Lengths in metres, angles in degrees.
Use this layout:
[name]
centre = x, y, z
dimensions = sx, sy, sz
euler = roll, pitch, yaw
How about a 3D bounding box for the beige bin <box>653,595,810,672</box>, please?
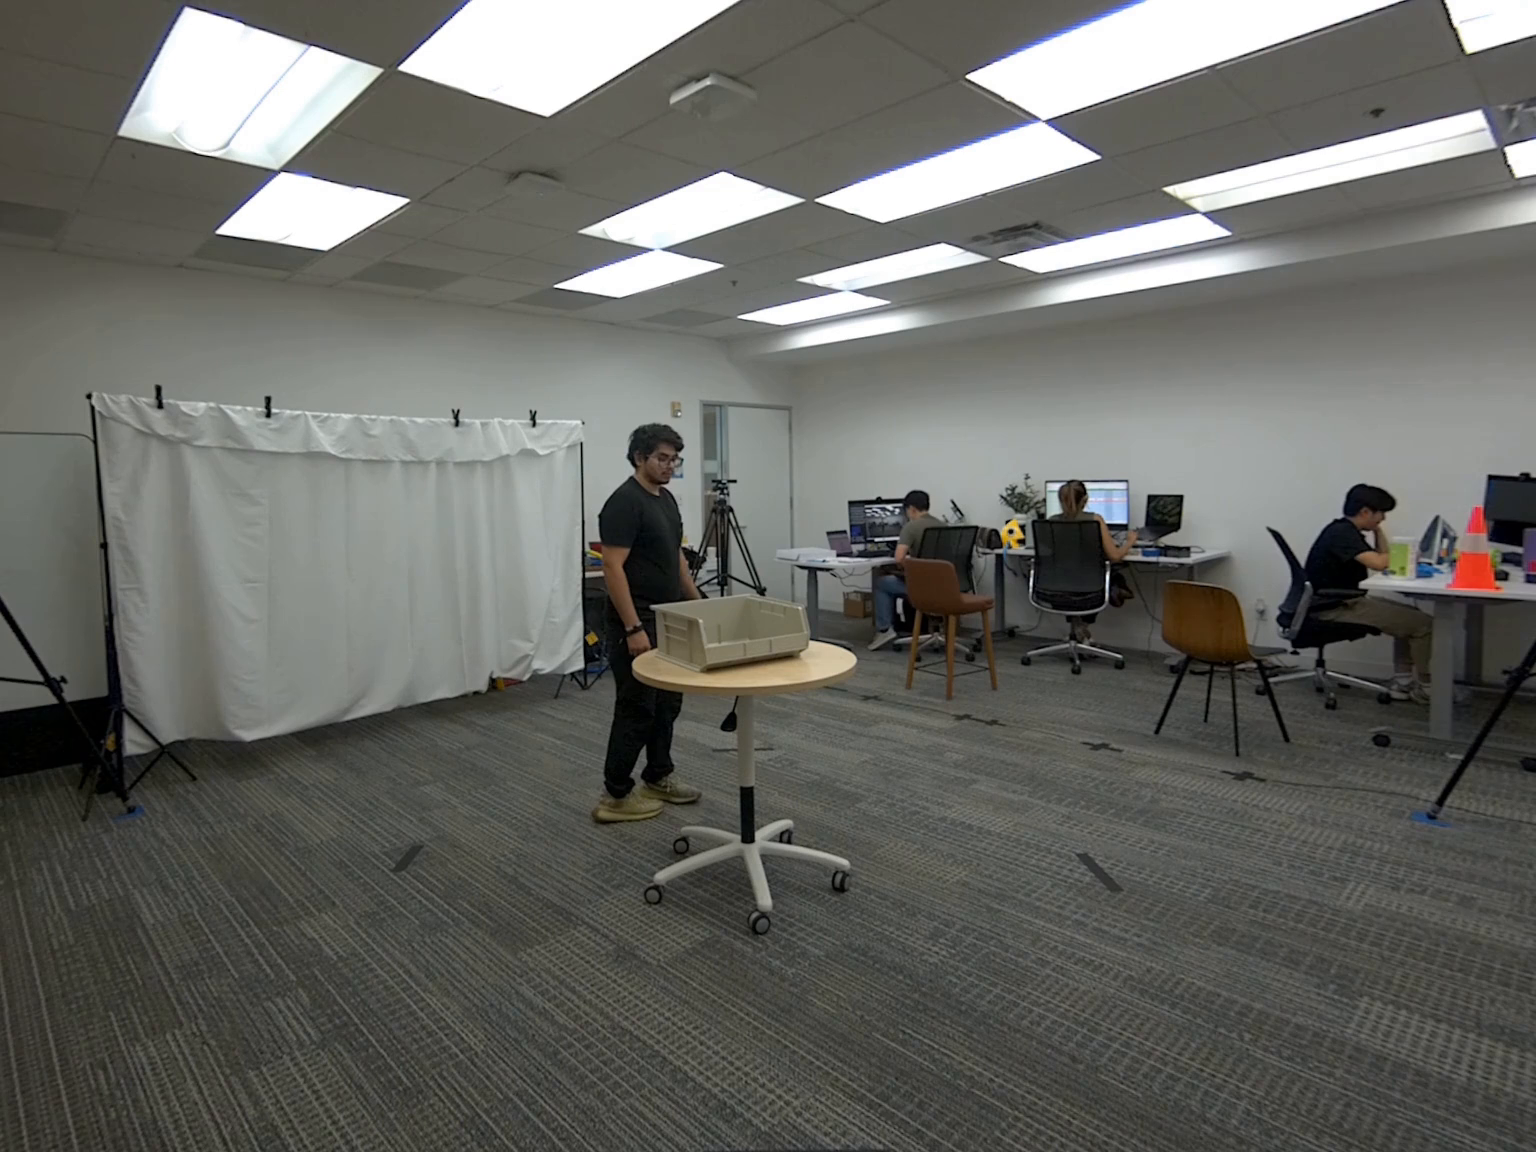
[beige bin]
centre = -0.134, 0.193, 2.965
dimensions = 0.412, 0.188, 0.388
euler = -6, 7, -32
